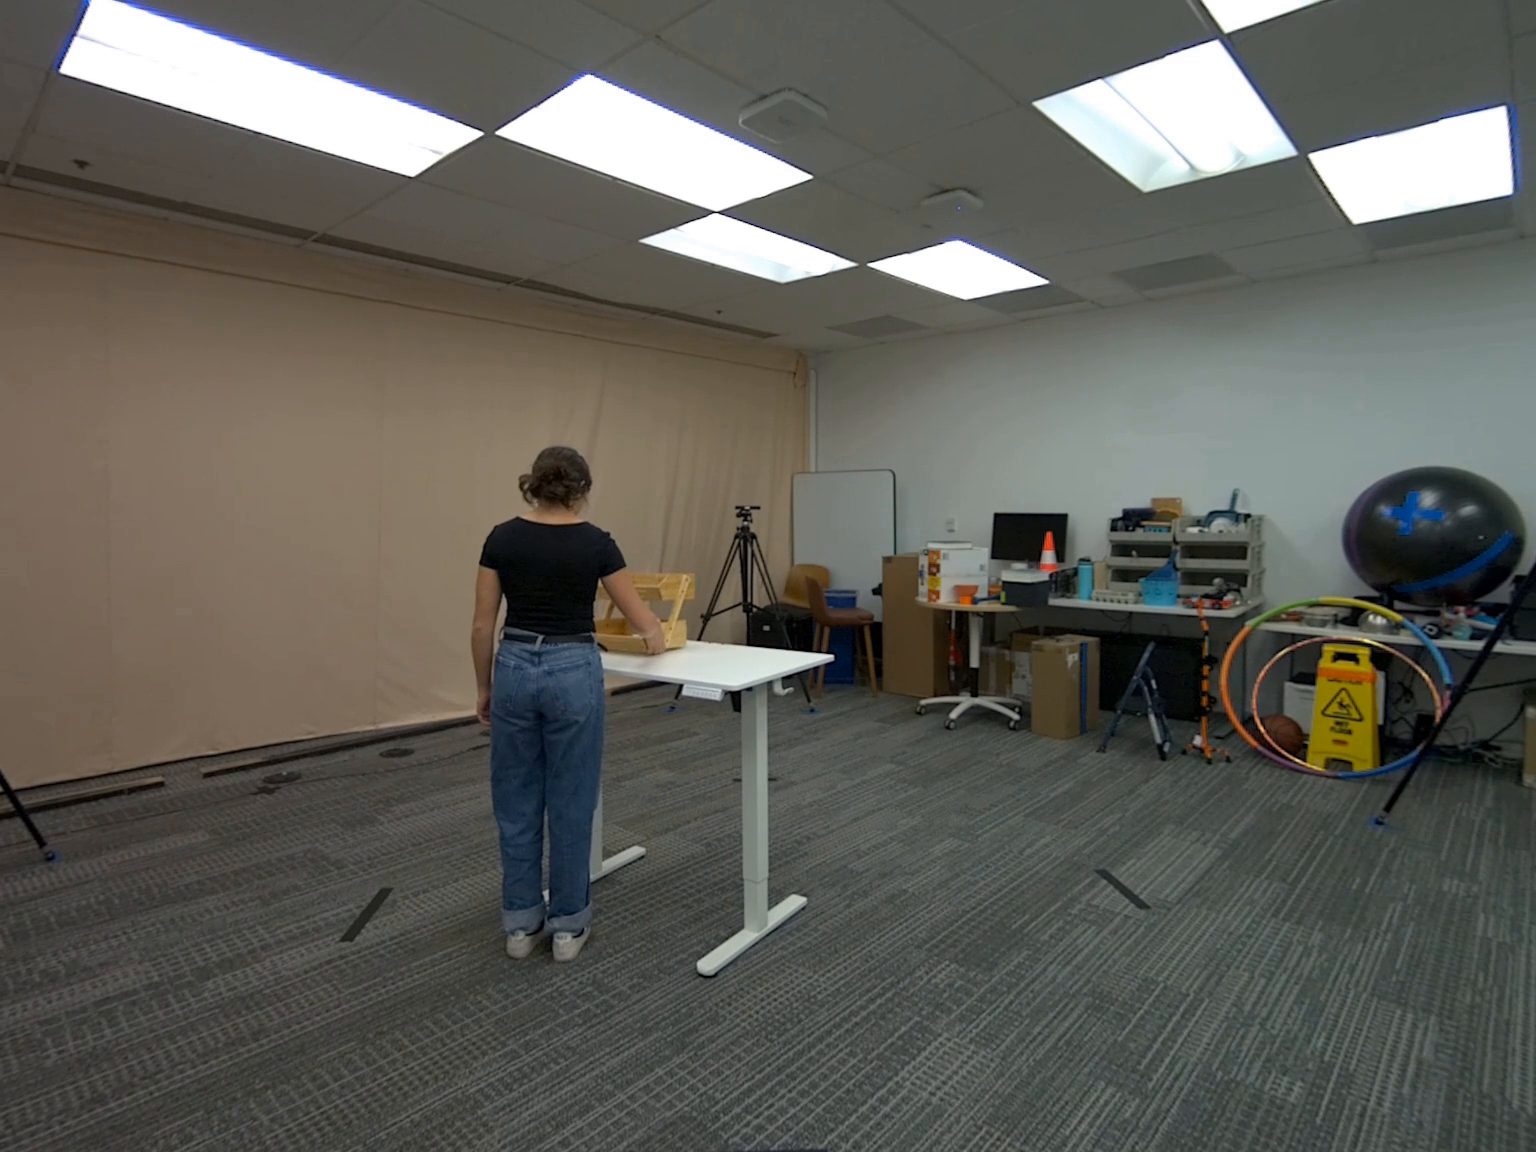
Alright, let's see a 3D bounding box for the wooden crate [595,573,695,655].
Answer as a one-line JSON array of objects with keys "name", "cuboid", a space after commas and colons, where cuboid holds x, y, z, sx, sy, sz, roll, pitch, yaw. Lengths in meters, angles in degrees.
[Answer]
[{"name": "wooden crate", "cuboid": [-0.474, 0.121, 3.051, 0.334, 0.273, 0.293, 0, 0, 33]}]
